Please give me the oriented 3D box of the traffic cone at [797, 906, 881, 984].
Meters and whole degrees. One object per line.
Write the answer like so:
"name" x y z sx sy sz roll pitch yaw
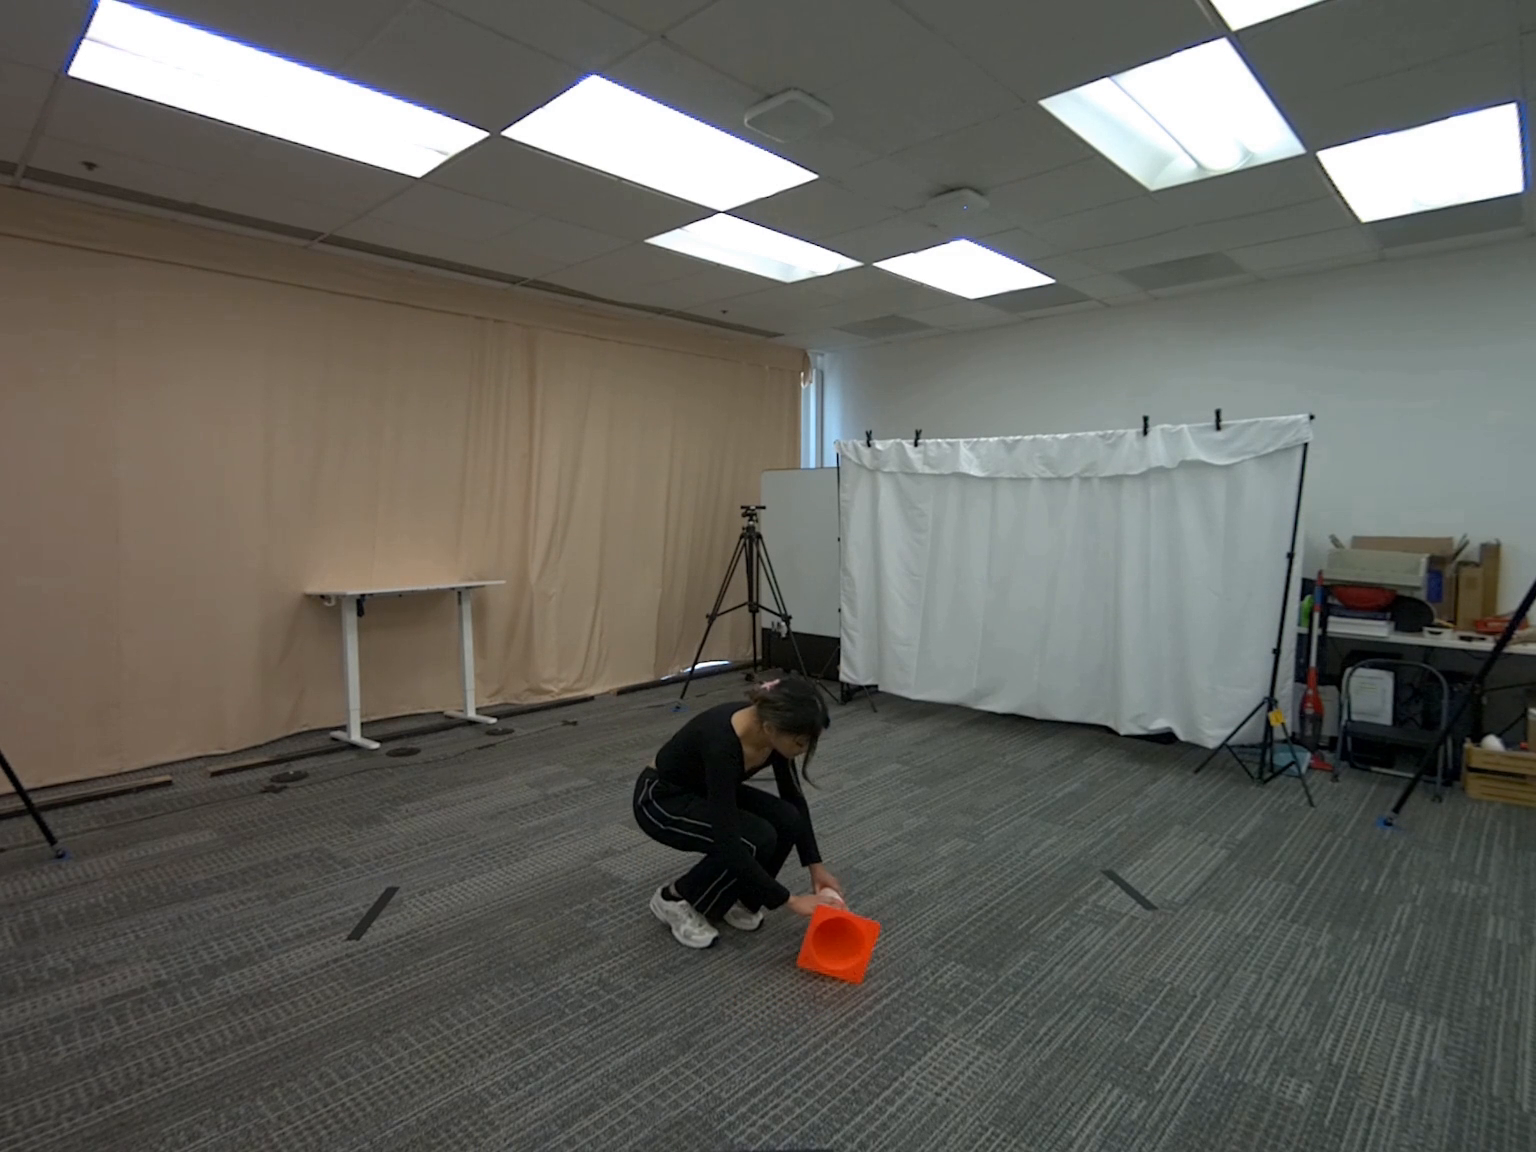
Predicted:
"traffic cone" 0.201 1.049 2.619 0.204 0.203 0.385 18 7 -3
